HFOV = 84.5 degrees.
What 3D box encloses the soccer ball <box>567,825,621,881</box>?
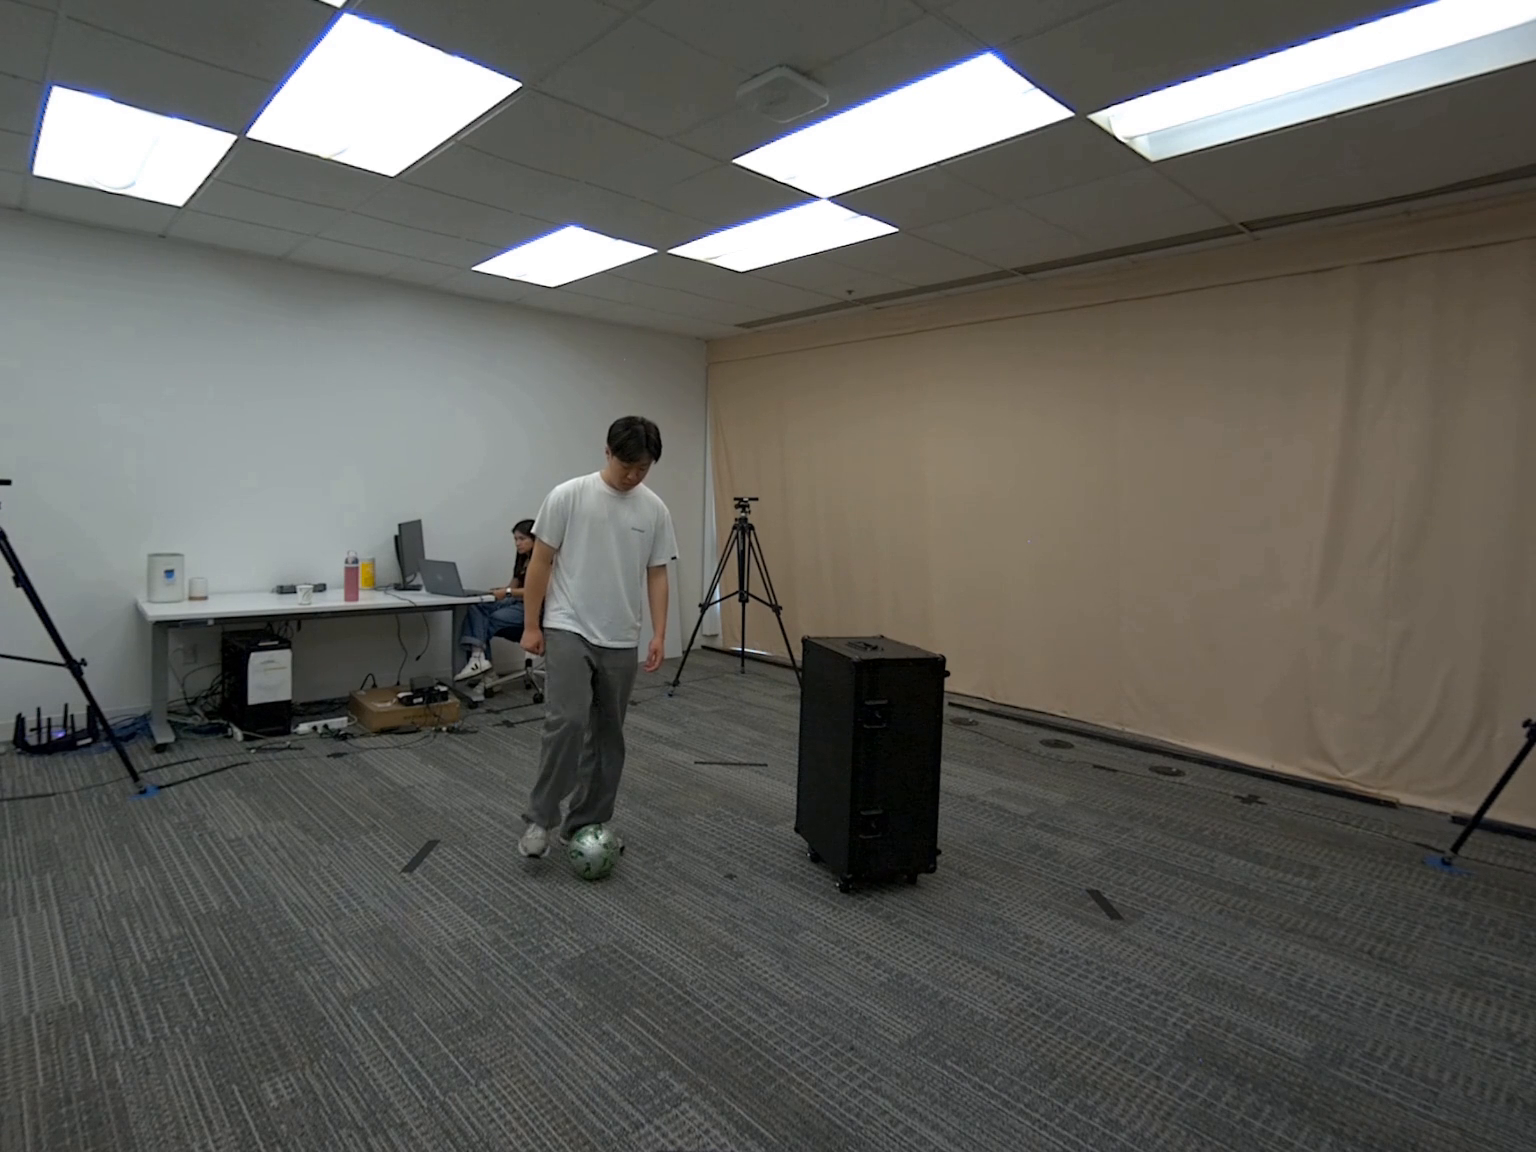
[{"bbox_3d":[-0.641,0.996,3.075,0.187,0.187,0.188,1,4,-1],"label":"soccer ball"}]
